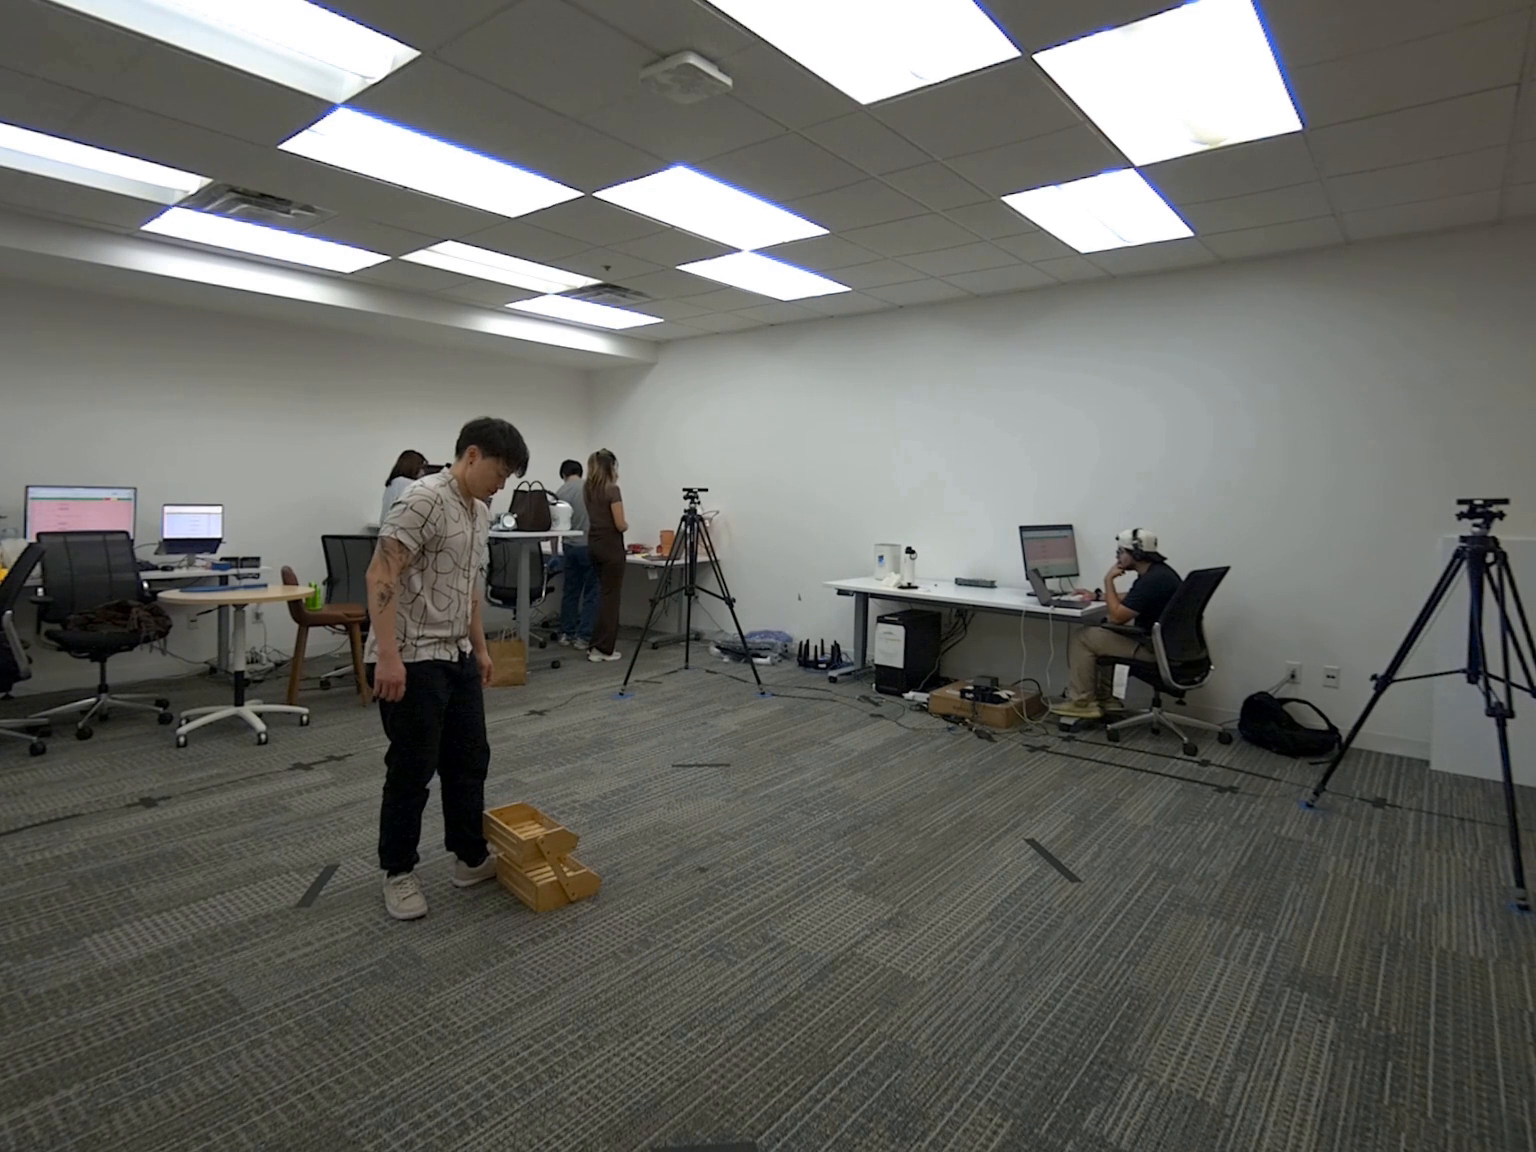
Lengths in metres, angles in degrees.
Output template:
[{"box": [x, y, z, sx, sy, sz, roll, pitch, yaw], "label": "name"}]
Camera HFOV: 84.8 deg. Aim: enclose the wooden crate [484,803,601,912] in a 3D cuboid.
[{"box": [-0.794, 0.948, 2.930, 0.293, 0.272, 0.335, -4, 7, -41], "label": "wooden crate"}]
